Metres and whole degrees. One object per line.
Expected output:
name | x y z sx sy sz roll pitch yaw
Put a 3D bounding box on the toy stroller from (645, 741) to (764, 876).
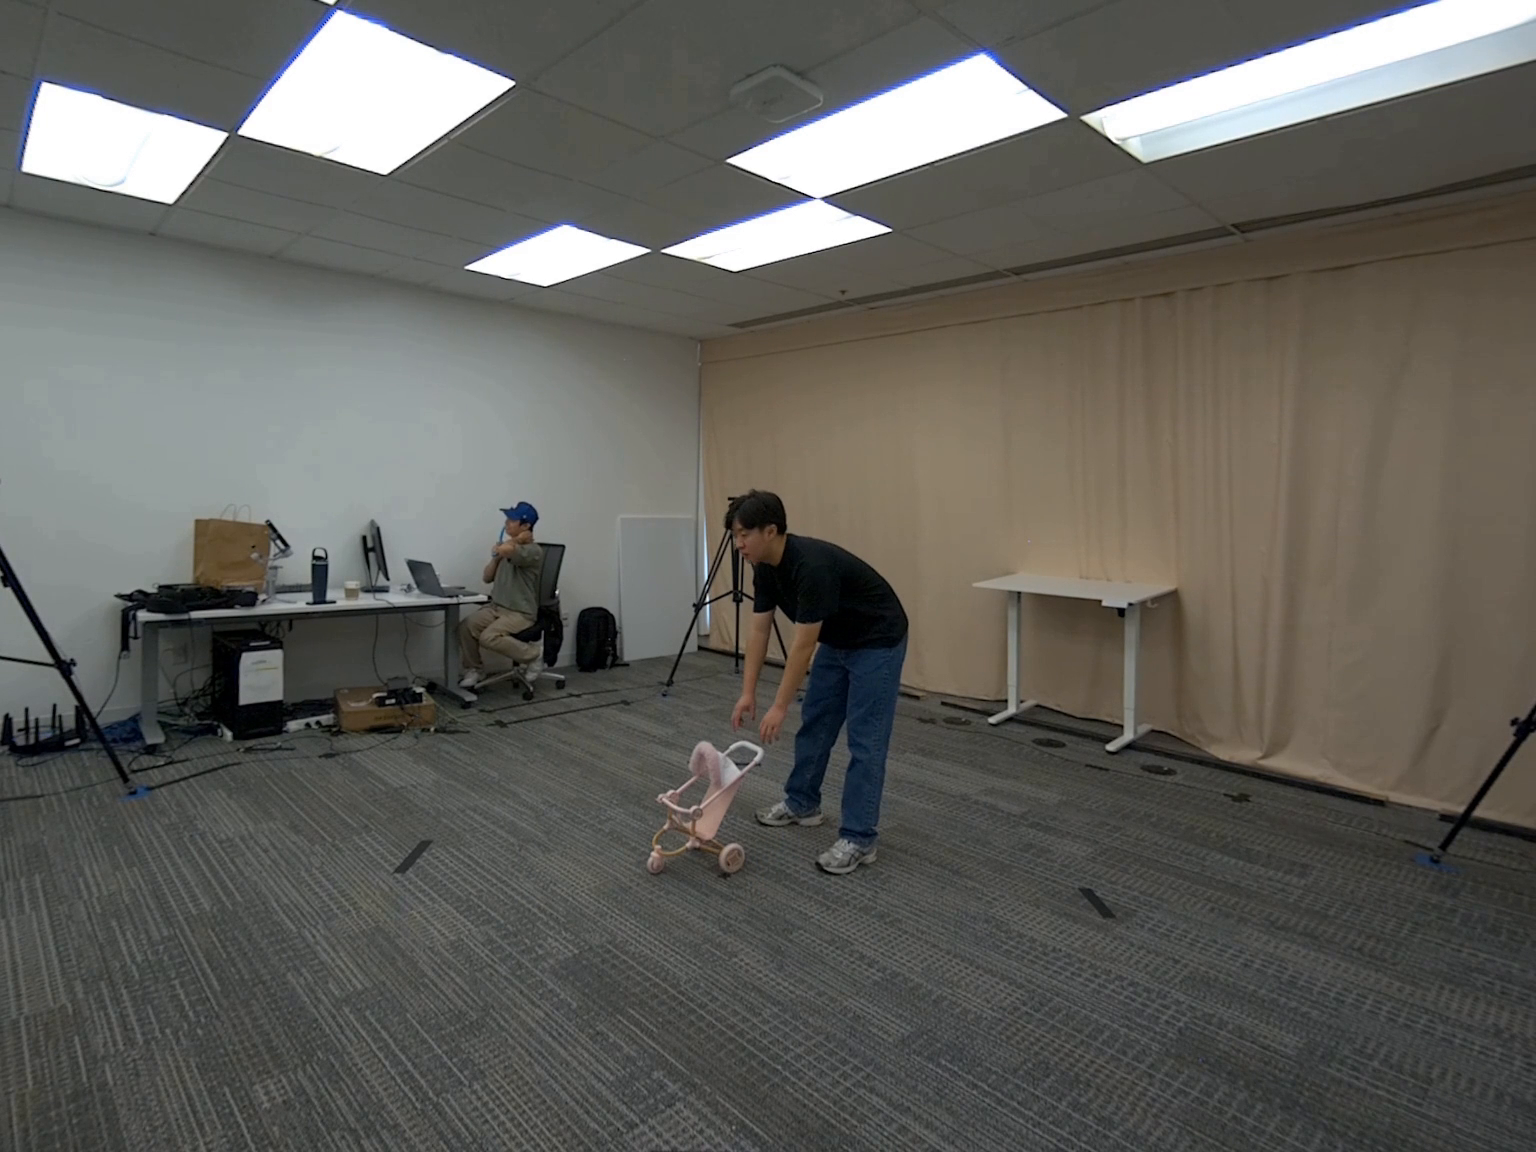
toy stroller | -0.260 0.871 3.198 0.333 0.536 0.287 17 -4 -27
